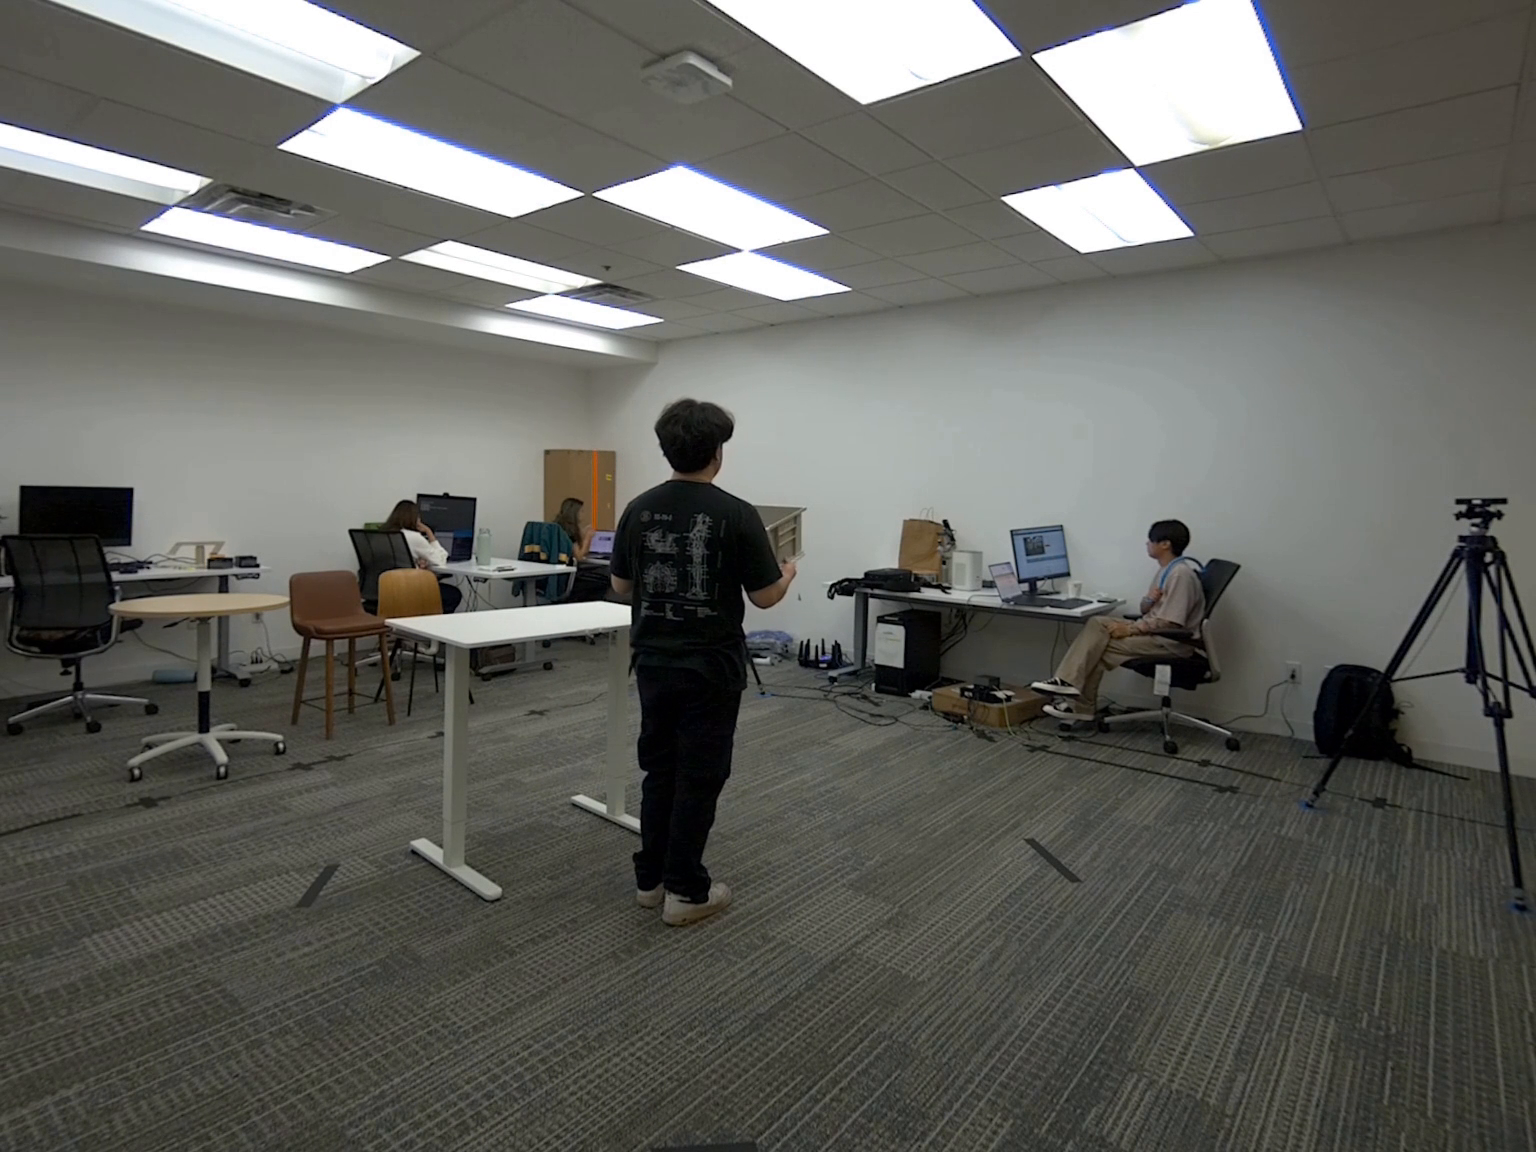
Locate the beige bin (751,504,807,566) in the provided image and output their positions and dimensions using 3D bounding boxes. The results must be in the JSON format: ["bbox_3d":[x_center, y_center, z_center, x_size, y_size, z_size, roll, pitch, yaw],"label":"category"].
[{"bbox_3d":[-0.128,-0.138,3.070,0.433,0.186,0.372,4,15,24],"label":"beige bin"}]
